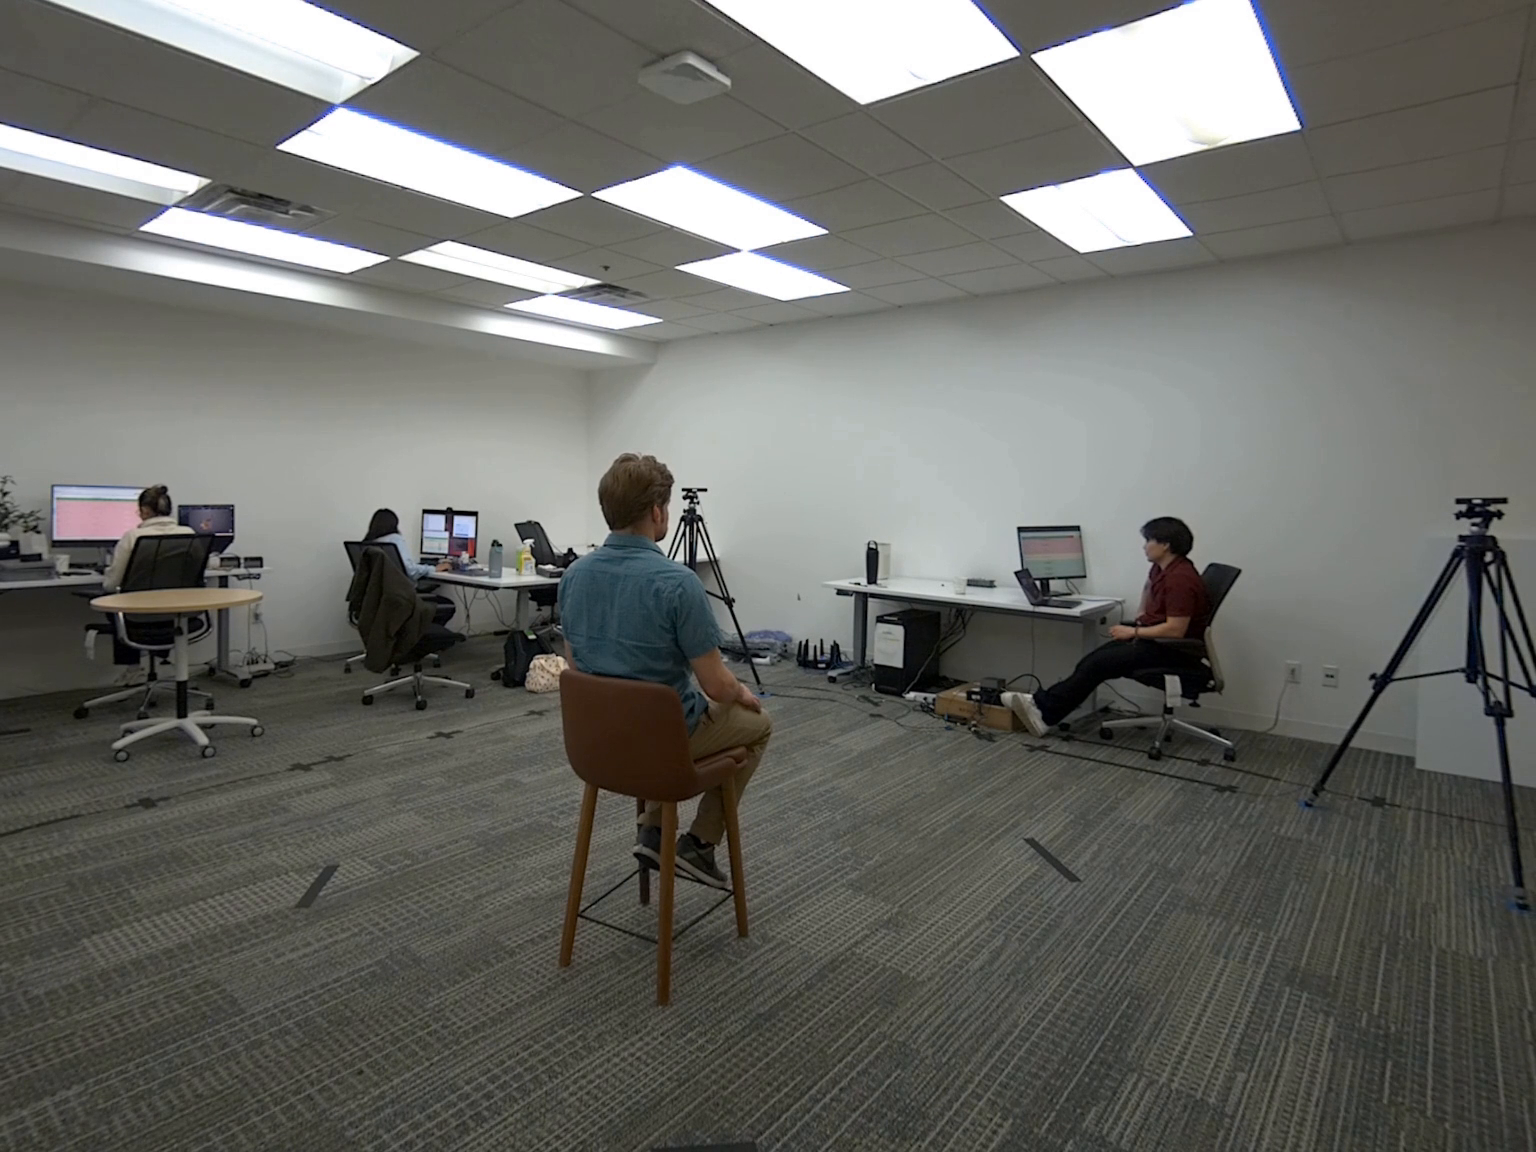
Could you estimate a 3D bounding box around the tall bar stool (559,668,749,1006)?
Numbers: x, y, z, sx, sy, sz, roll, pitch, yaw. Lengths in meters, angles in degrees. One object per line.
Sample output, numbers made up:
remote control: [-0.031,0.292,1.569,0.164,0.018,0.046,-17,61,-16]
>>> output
tall bar stool: [-0.351,0.687,2.537,0.470,0.886,0.456,2,6,30]
